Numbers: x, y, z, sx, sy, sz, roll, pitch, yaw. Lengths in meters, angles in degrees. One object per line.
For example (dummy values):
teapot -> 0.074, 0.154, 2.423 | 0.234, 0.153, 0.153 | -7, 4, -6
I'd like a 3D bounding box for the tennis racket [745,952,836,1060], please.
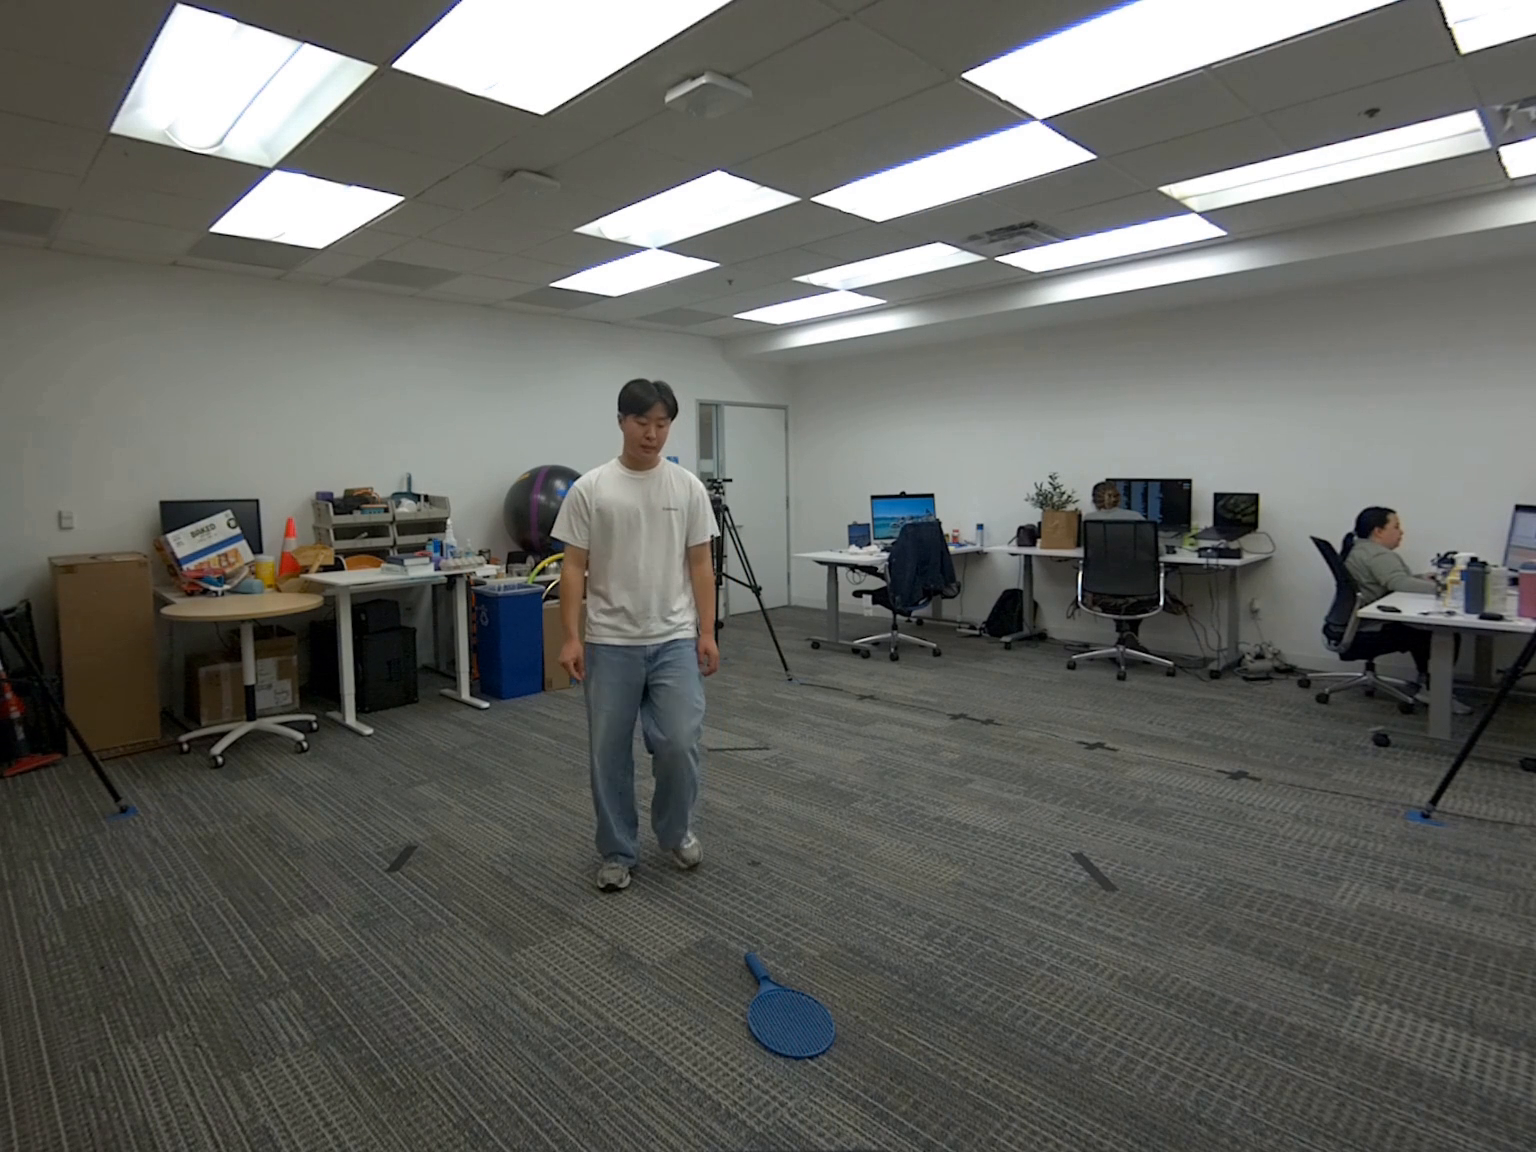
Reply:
tennis racket -> 0.037, 1.128, 2.265 | 0.210, 0.031, 0.442 | -4, 9, -19
